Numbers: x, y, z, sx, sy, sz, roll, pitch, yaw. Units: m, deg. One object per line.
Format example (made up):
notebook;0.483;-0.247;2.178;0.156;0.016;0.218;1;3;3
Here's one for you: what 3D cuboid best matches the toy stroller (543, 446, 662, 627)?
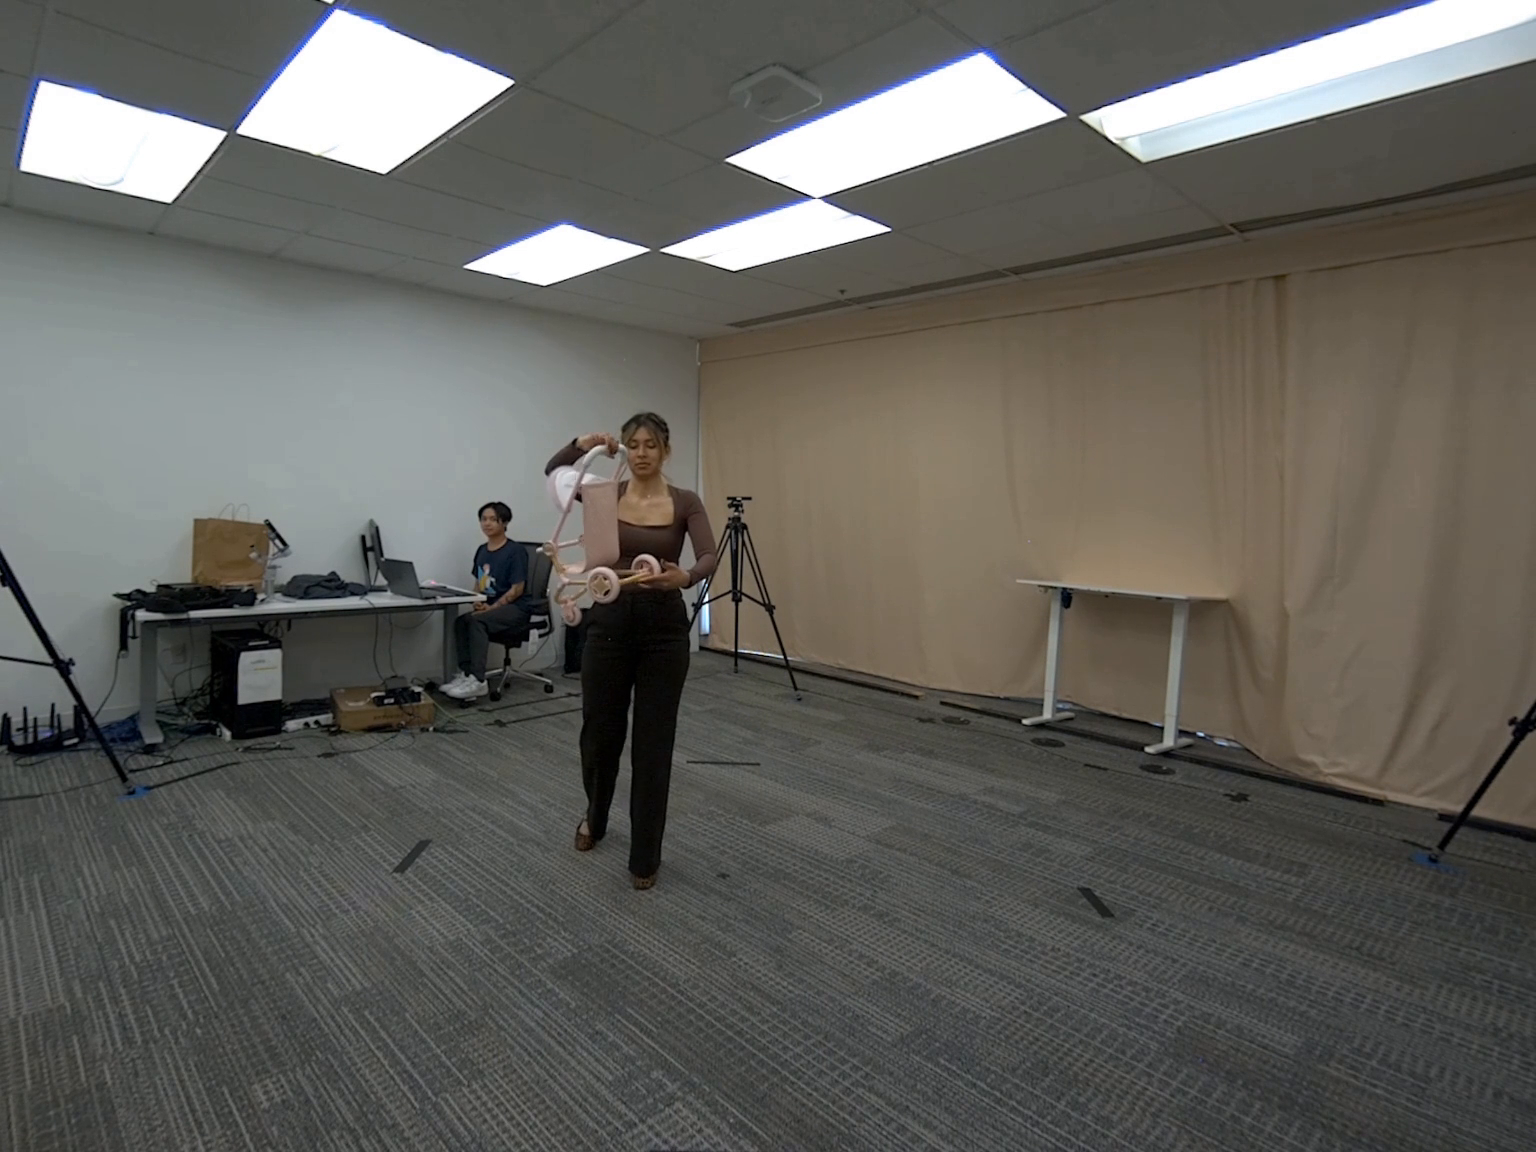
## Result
toy stroller;-0.584;-0.119;2.656;0.347;0.533;0.277;-9;4;31
